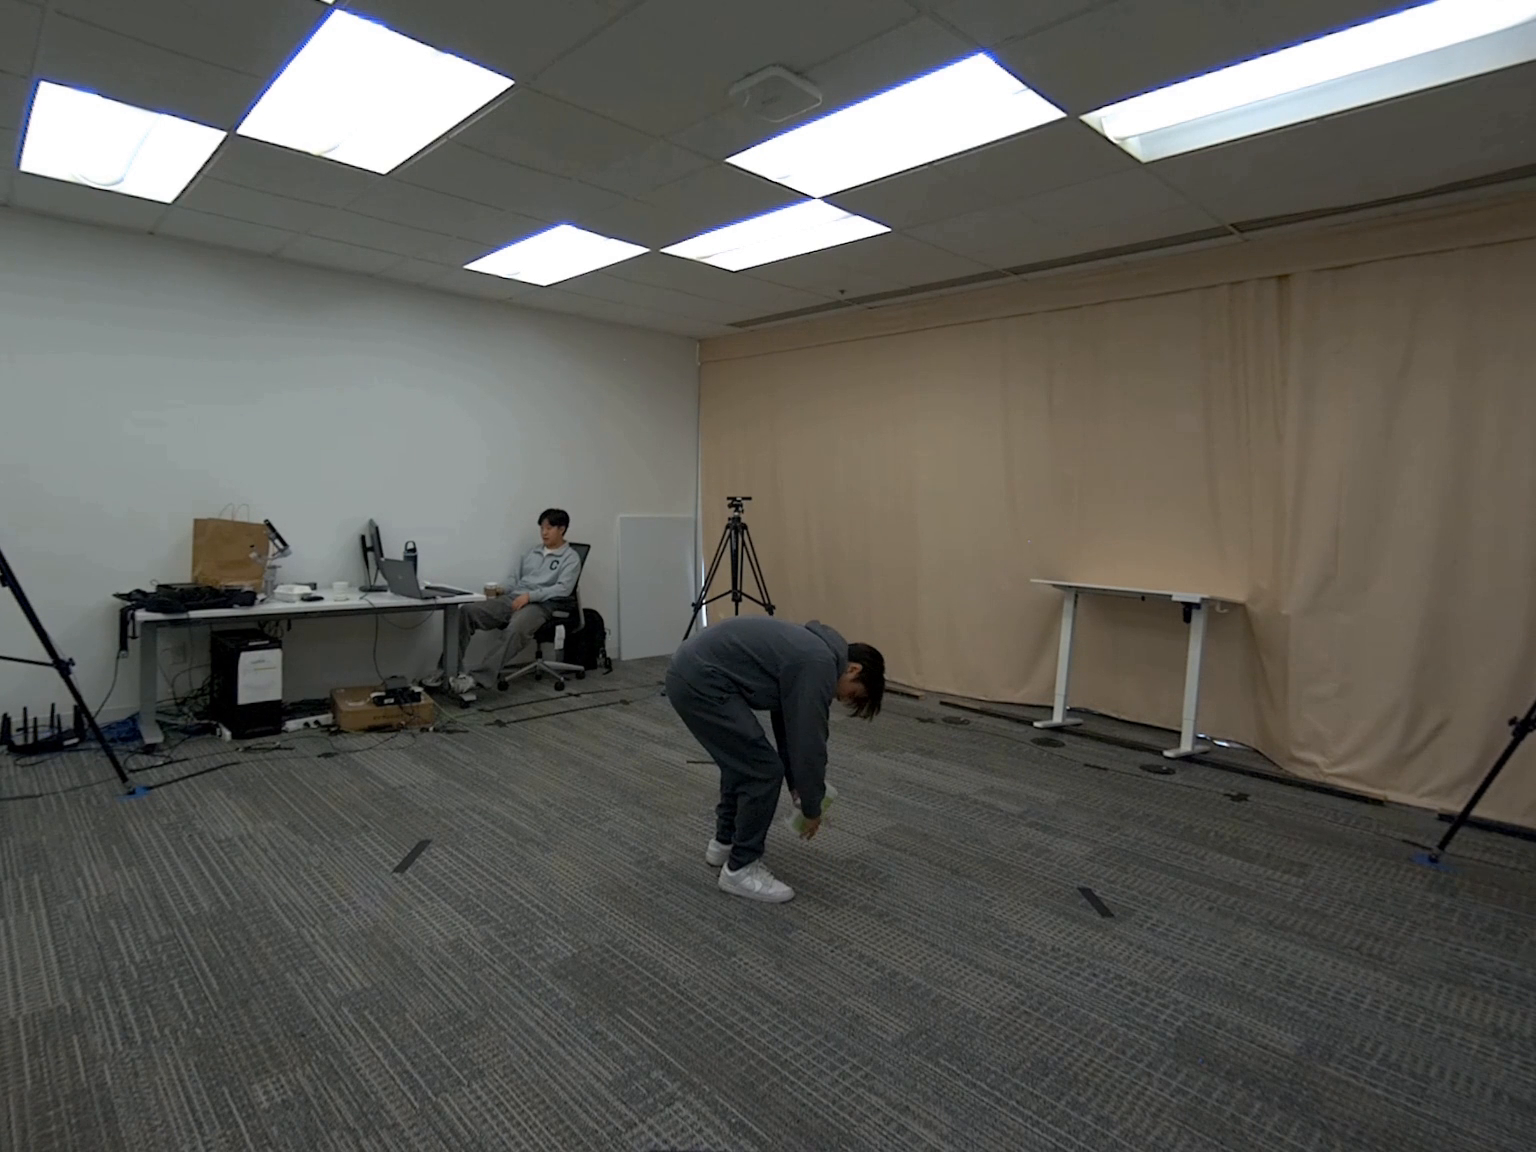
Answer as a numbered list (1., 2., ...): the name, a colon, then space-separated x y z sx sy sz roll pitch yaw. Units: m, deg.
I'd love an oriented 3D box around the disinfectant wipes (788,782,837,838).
1. disinfectant wipes: 0.158 0.864 3.125 0.118 0.217 0.118 37 -1 -1
